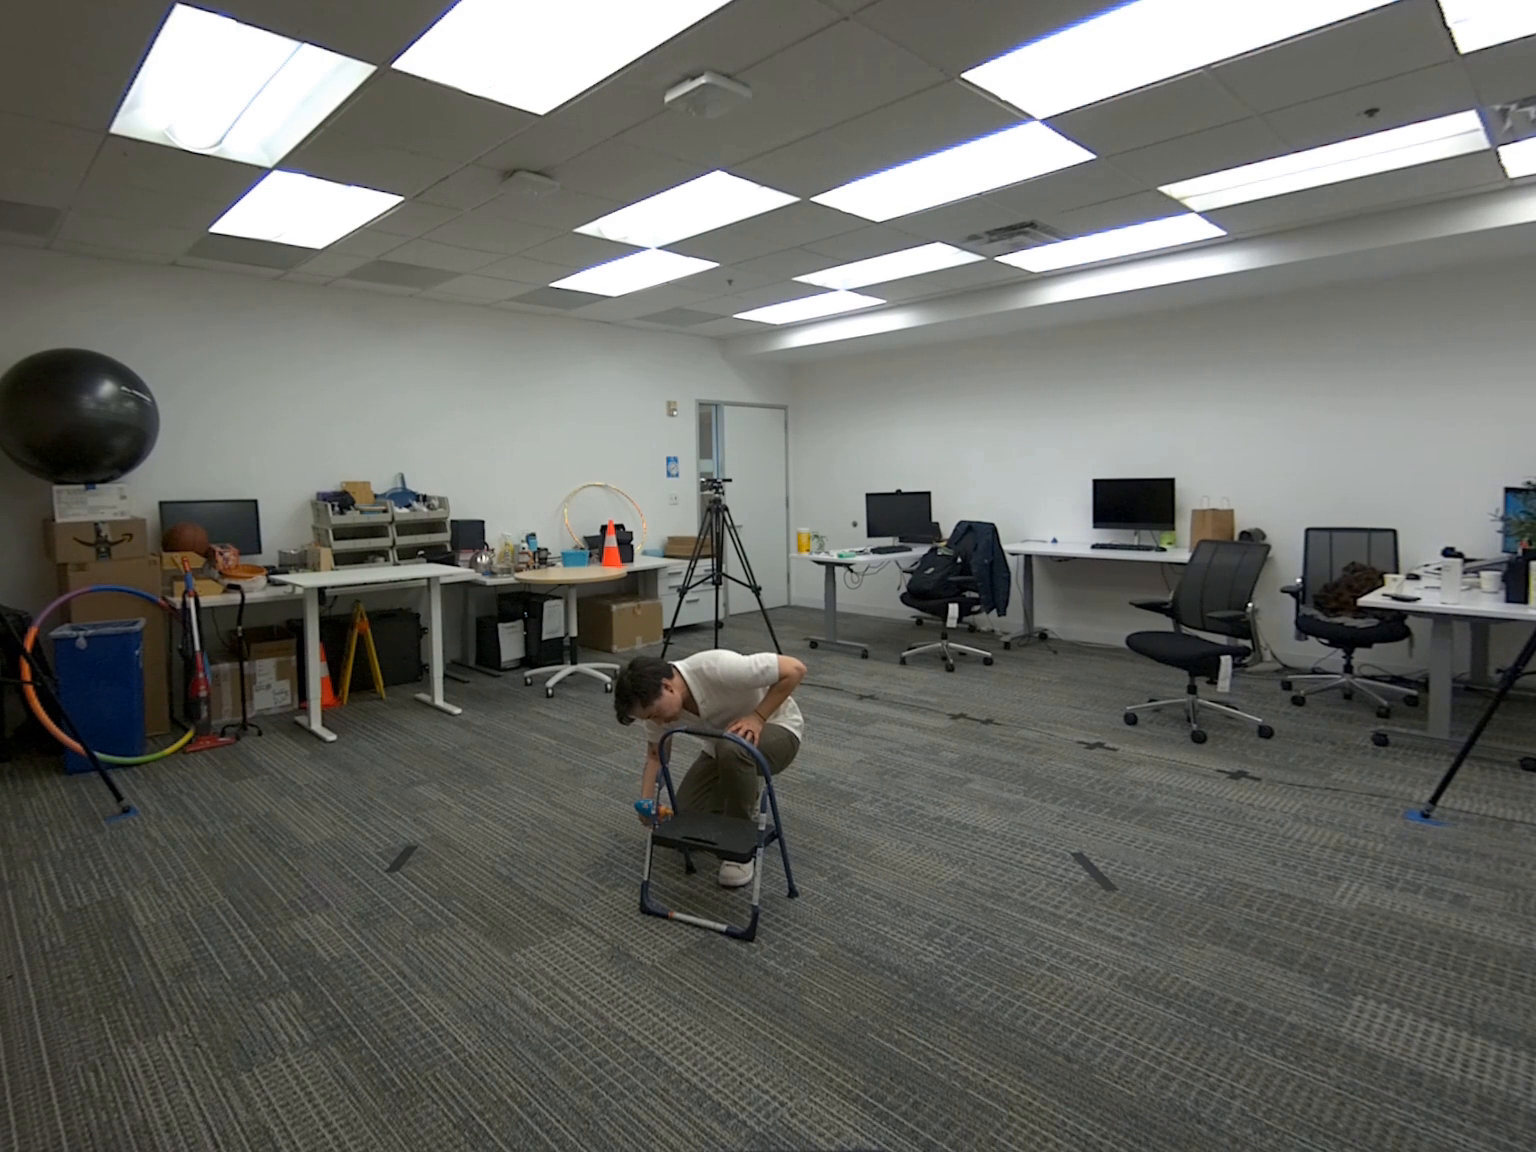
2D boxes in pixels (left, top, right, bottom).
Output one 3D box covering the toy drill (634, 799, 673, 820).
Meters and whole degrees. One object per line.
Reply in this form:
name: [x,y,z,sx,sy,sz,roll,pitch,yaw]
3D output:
toy drill: [-0.375,0.838,3.031,0.174,0.062,0.140,1,-23,32]
